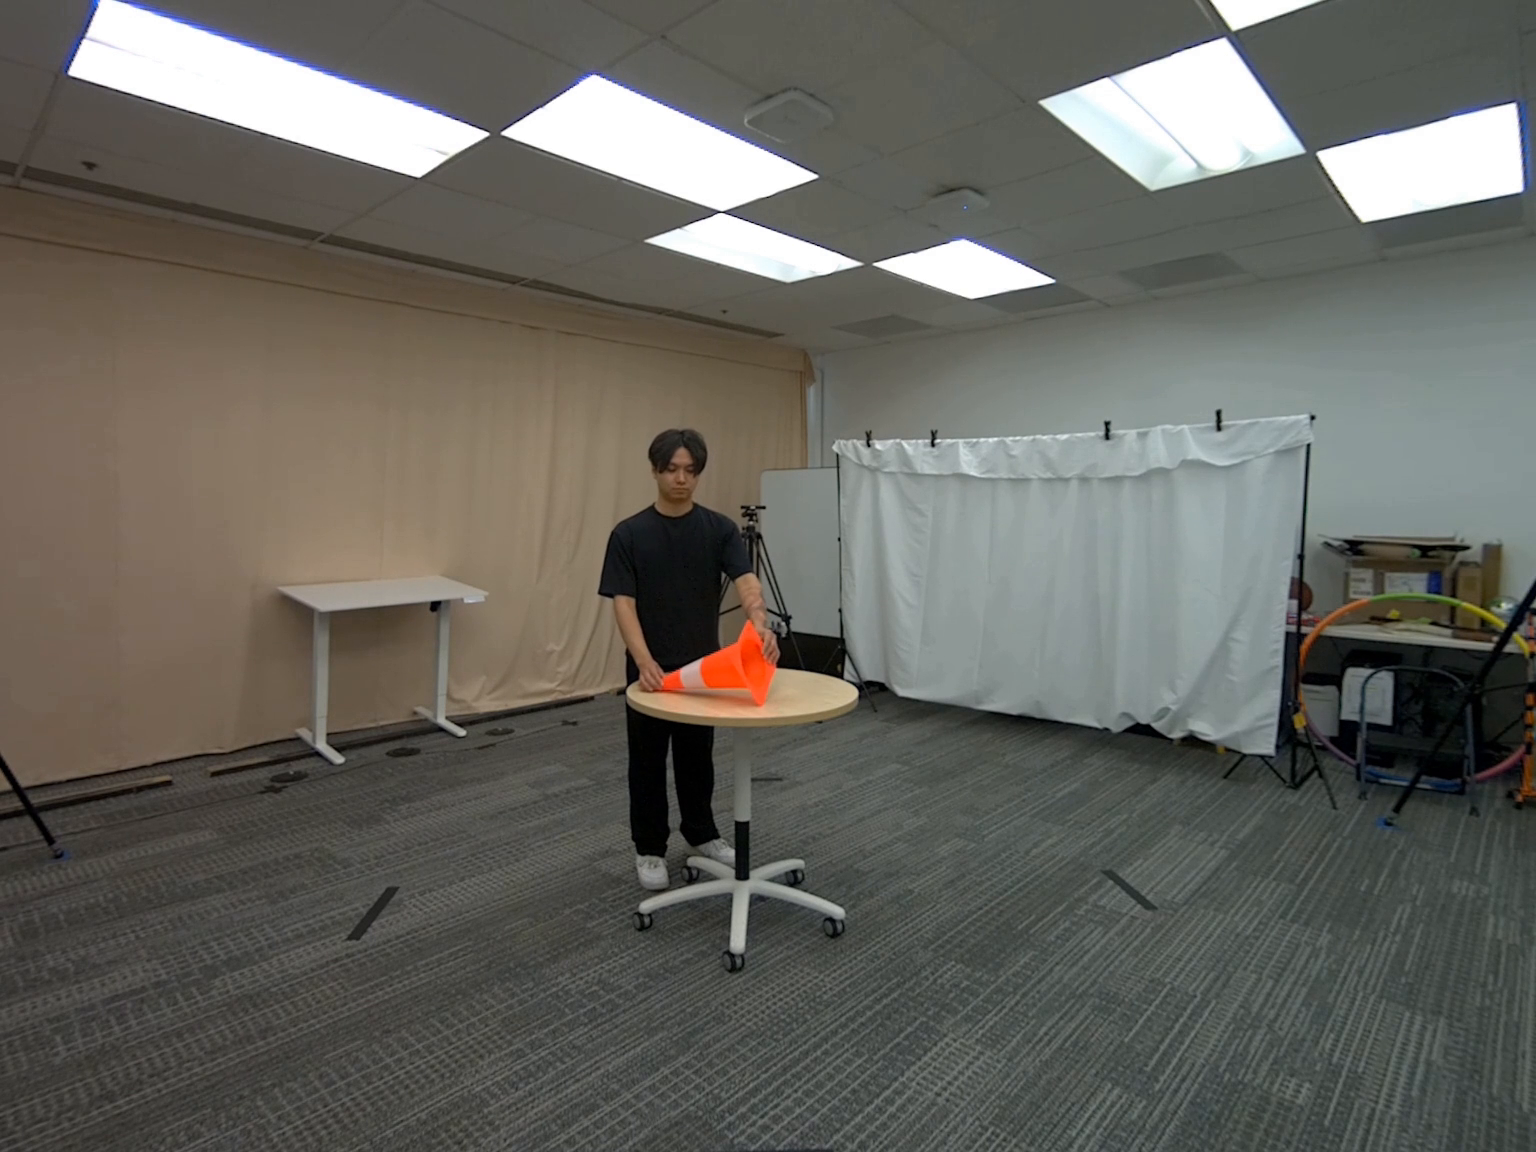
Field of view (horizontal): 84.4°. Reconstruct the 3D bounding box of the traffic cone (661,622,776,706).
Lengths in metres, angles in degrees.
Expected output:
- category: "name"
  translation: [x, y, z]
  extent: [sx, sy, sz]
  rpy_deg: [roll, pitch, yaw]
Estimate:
- category: "traffic cone"
  translation: [-0.199, 0.322, 2.674]
  extent: [0.391, 0.199, 0.205]
  rpy_deg: [-18, 25, 27]
